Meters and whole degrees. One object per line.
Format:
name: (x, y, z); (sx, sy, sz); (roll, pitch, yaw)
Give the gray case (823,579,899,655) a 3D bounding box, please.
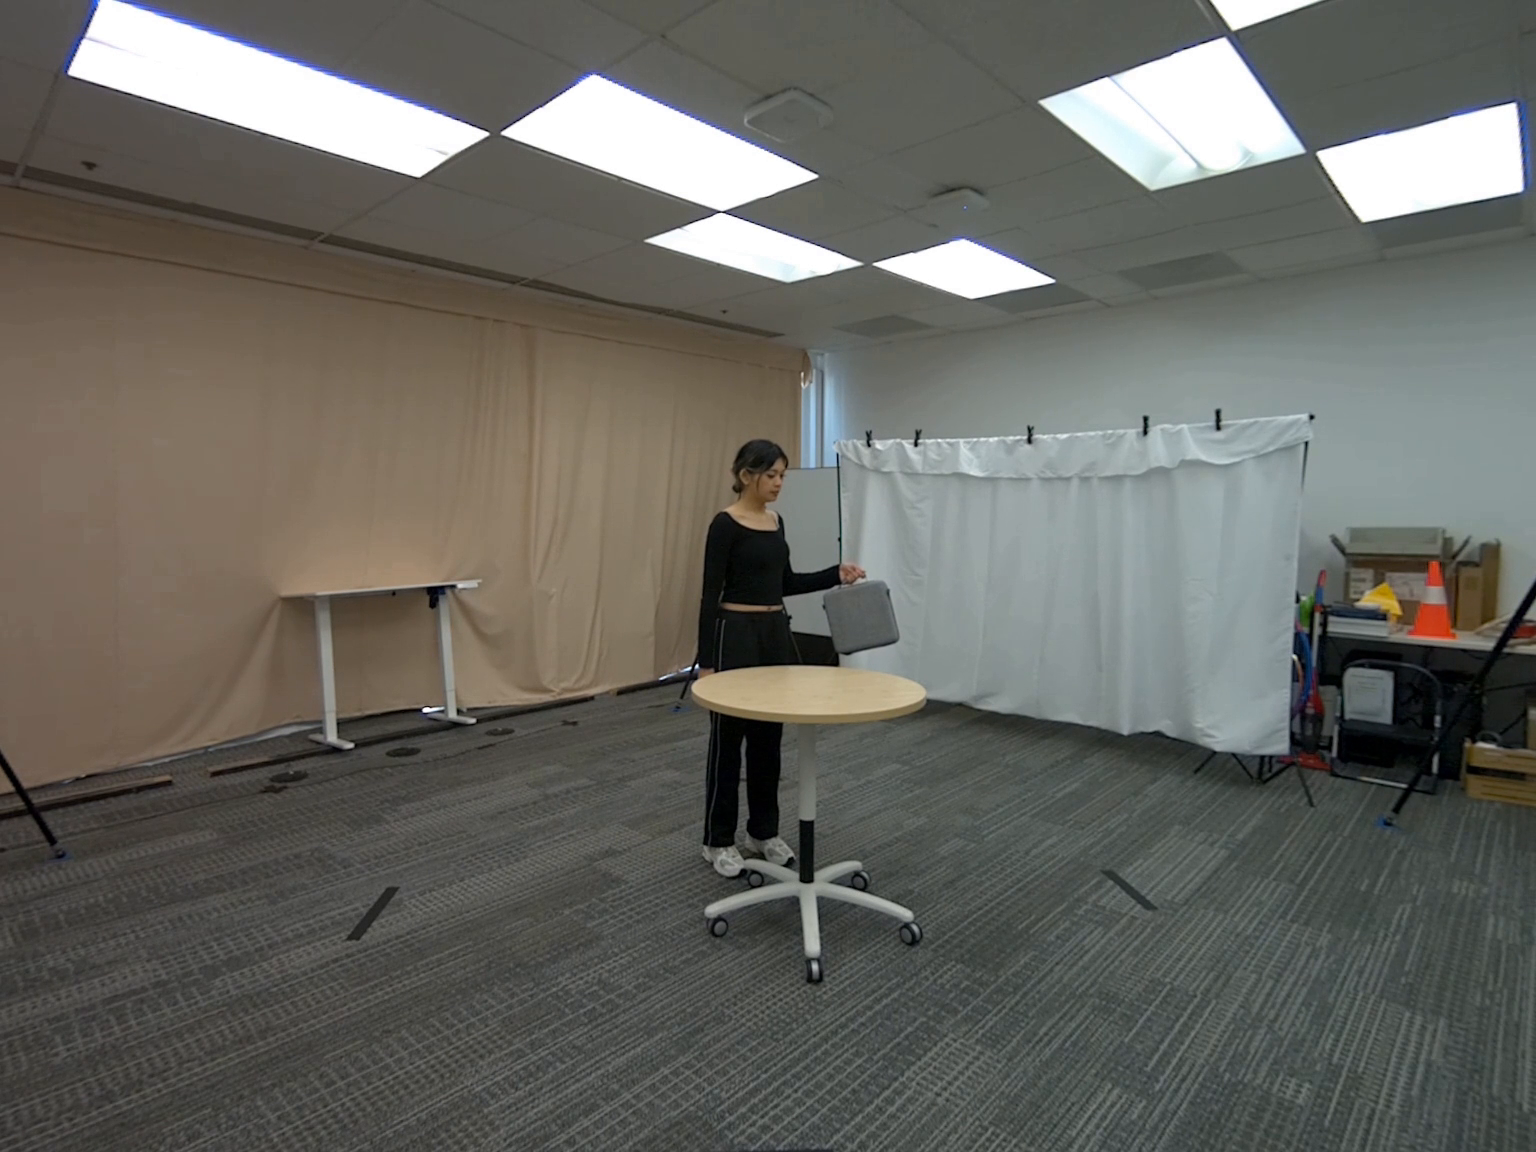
gray case: (0.374, 0.158, 3.303); (0.260, 0.263, 0.102); (-16, -9, 17)
